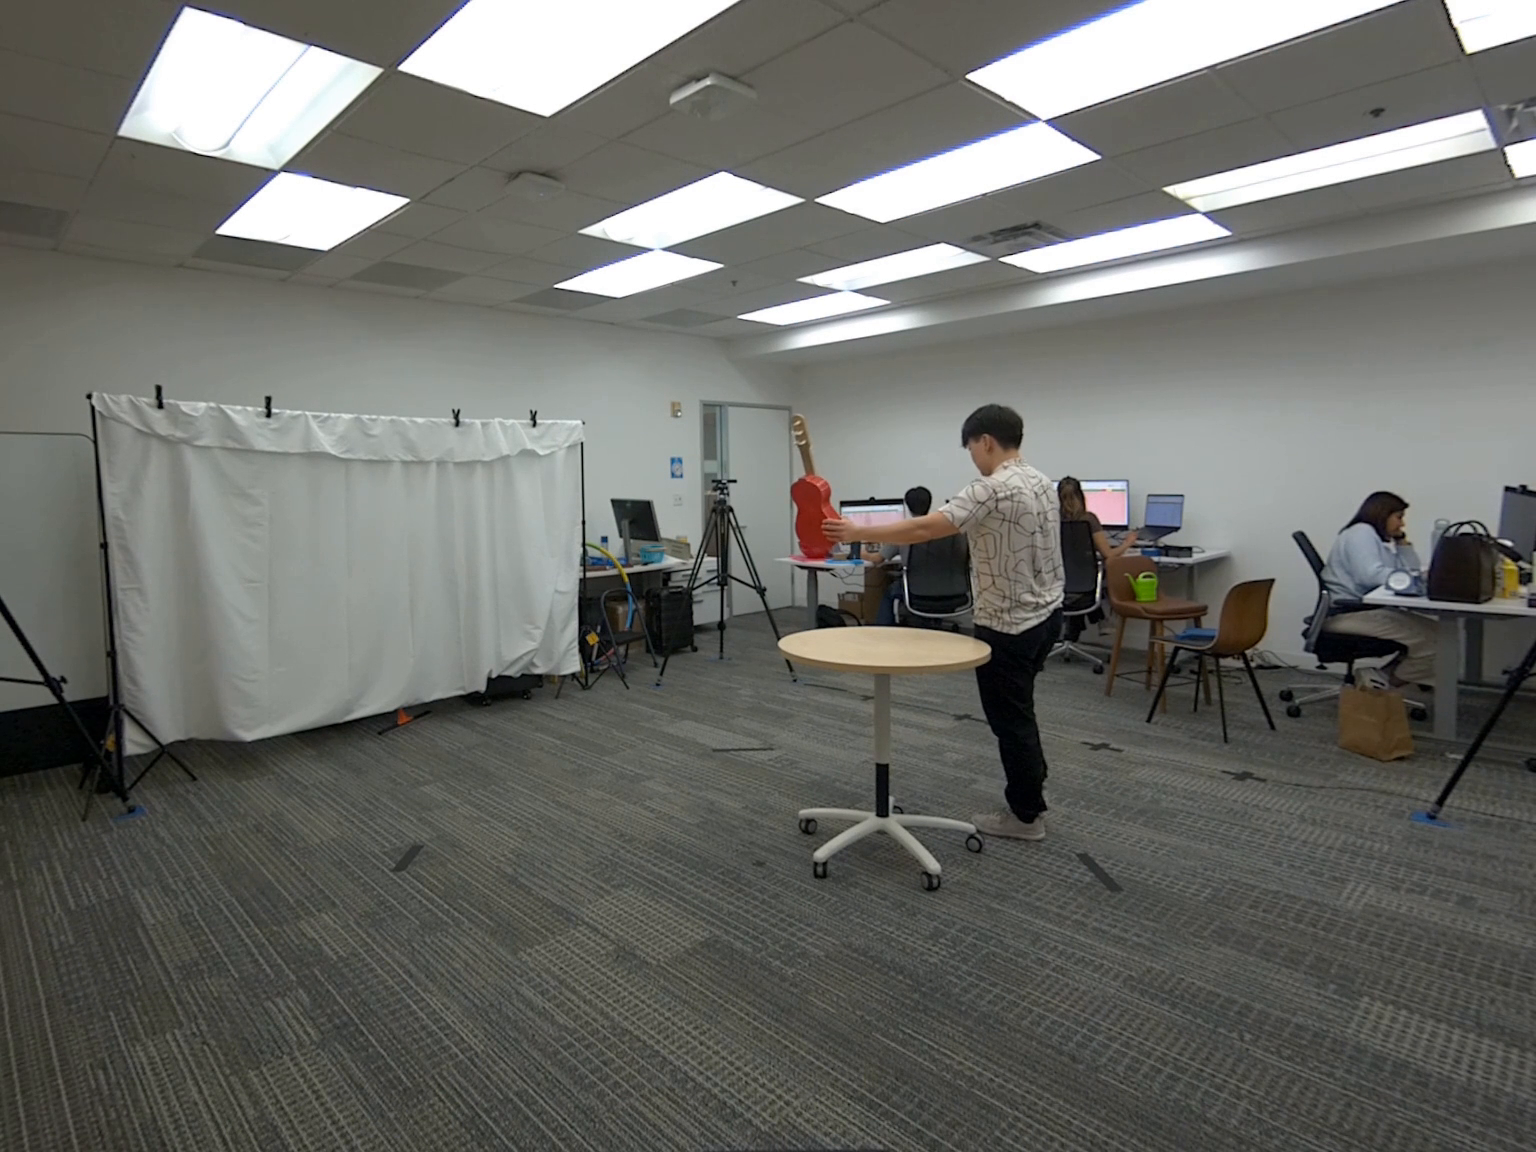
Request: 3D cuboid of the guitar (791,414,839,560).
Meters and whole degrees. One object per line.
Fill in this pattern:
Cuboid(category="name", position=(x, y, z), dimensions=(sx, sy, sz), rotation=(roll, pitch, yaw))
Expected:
Cuboid(category="guitar", position=(0.137, -0.344, 3.167), dimensions=(0.198, 0.491, 0.070), rotation=(-8, 15, 44))
